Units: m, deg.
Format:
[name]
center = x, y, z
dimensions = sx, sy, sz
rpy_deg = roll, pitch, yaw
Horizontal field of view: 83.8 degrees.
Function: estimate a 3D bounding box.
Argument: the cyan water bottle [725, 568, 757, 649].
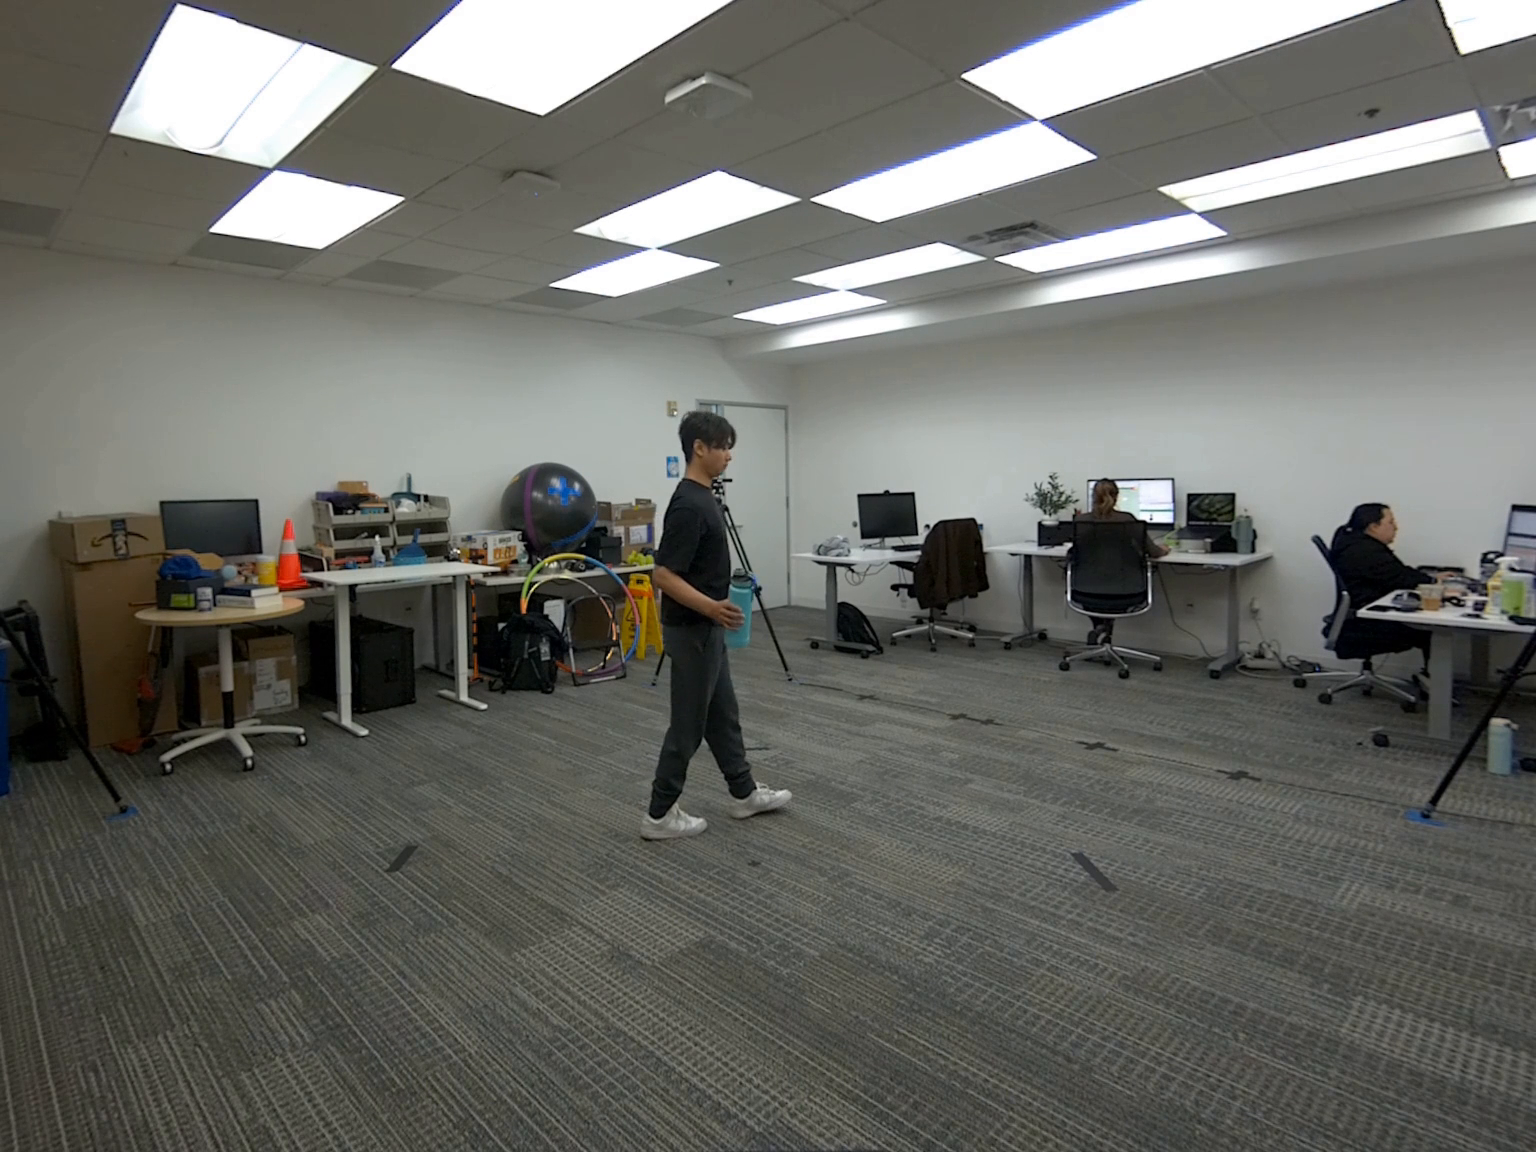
[cyan water bottle]
center = -0.094, 0.110, 3.046
dimensions = 0.092, 0.280, 0.094
rpy_deg = 8, 16, -4
